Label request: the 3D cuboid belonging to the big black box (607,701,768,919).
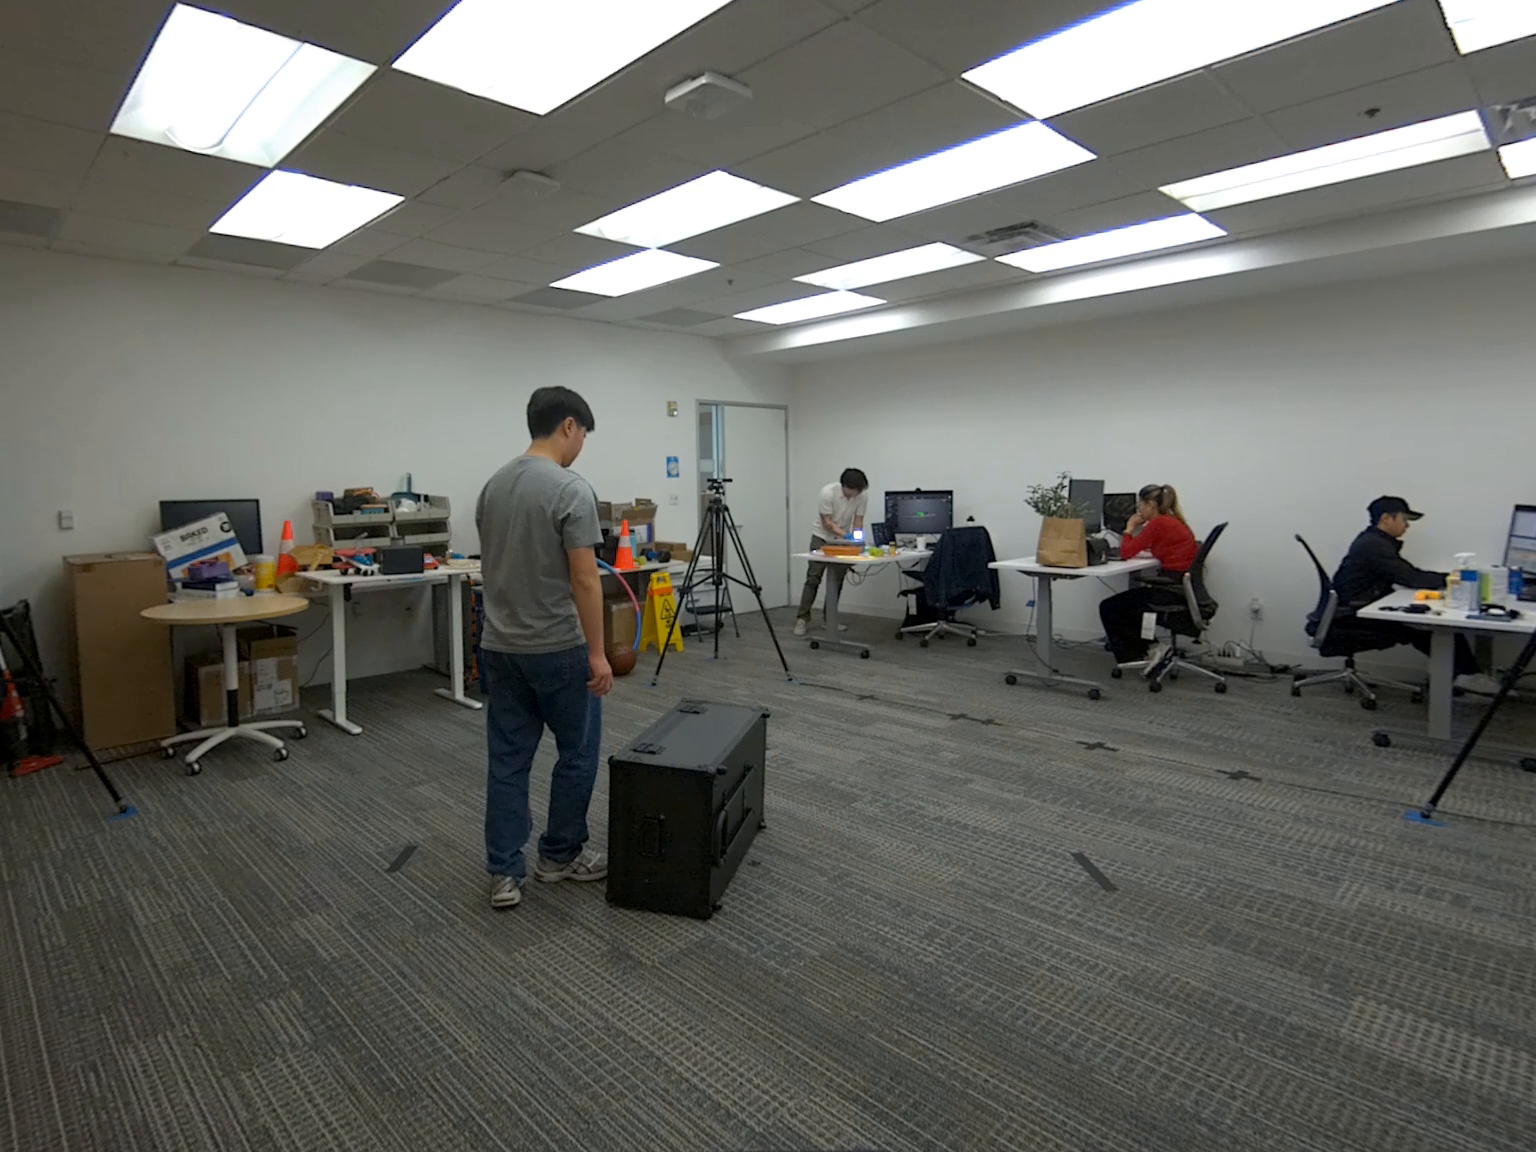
[{"bbox_3d":[-0.241,0.787,3.139,0.402,0.519,0.853,3,6,13],"label":"big black box"}]
